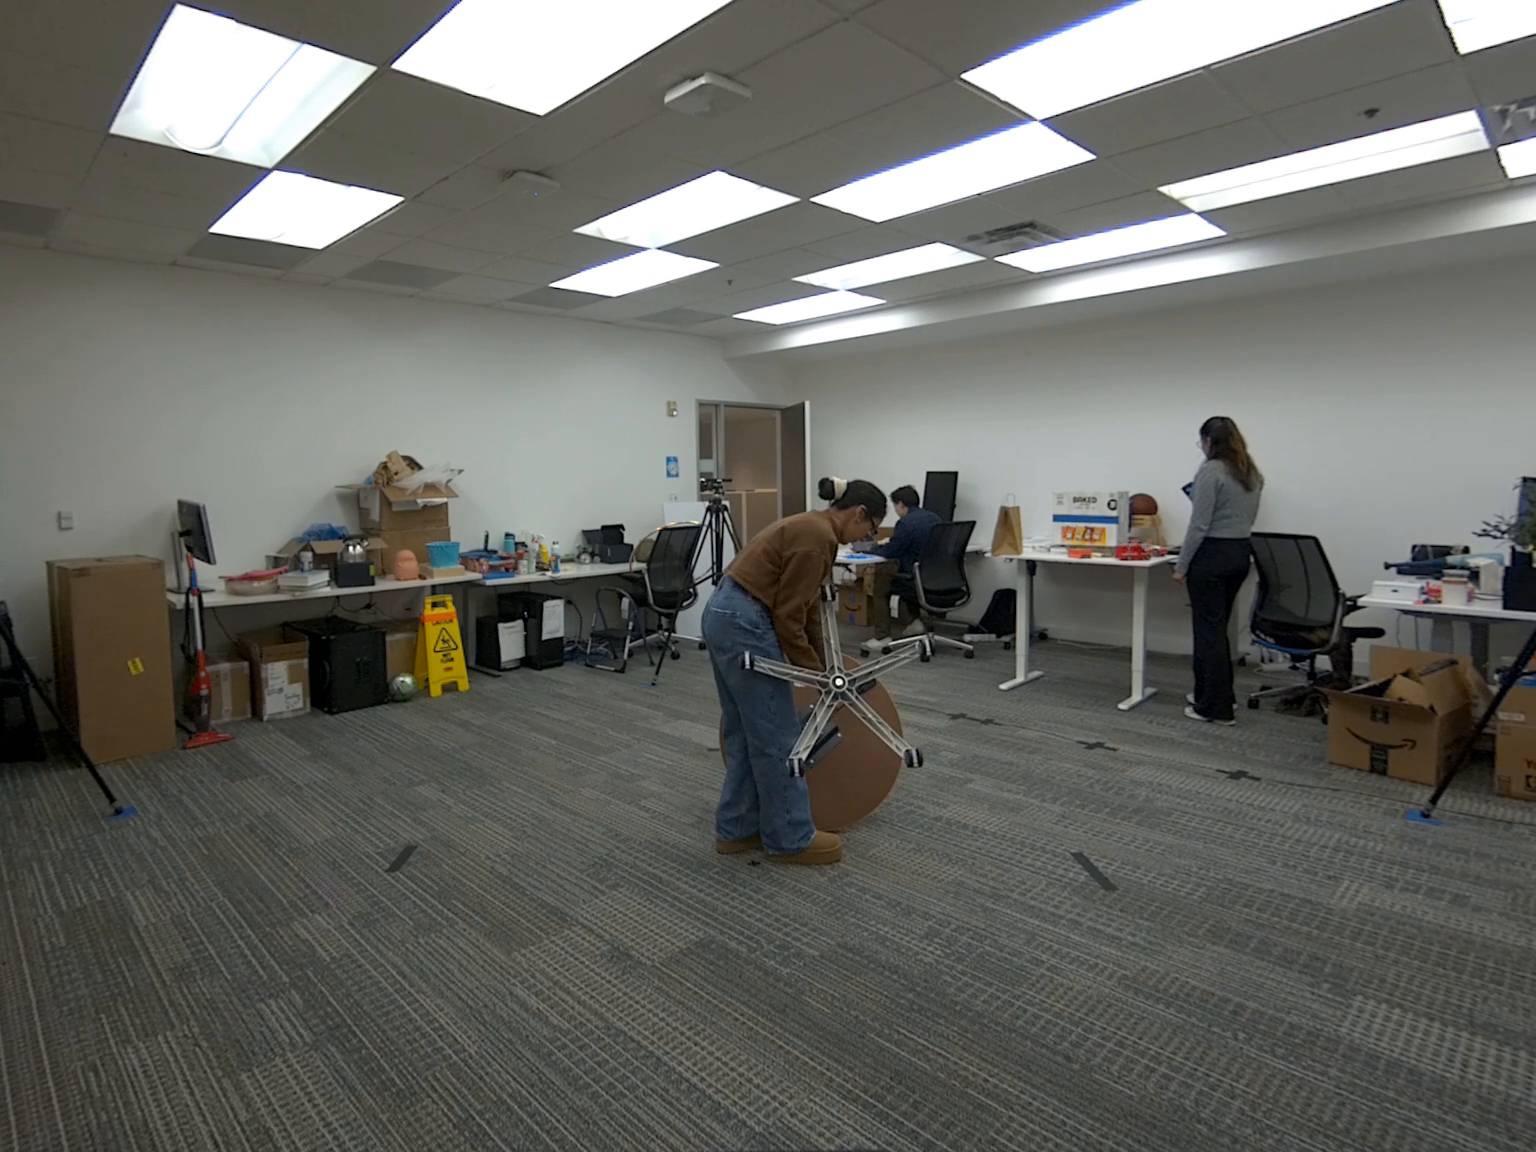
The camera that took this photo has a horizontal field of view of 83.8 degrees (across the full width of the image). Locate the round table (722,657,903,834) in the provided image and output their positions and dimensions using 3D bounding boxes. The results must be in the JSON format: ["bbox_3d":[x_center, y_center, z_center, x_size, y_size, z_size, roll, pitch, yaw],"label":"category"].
[{"bbox_3d":[0.221,0.497,3.204,0.760,0.782,0.779,-1,-26,-5],"label":"round table"}]
